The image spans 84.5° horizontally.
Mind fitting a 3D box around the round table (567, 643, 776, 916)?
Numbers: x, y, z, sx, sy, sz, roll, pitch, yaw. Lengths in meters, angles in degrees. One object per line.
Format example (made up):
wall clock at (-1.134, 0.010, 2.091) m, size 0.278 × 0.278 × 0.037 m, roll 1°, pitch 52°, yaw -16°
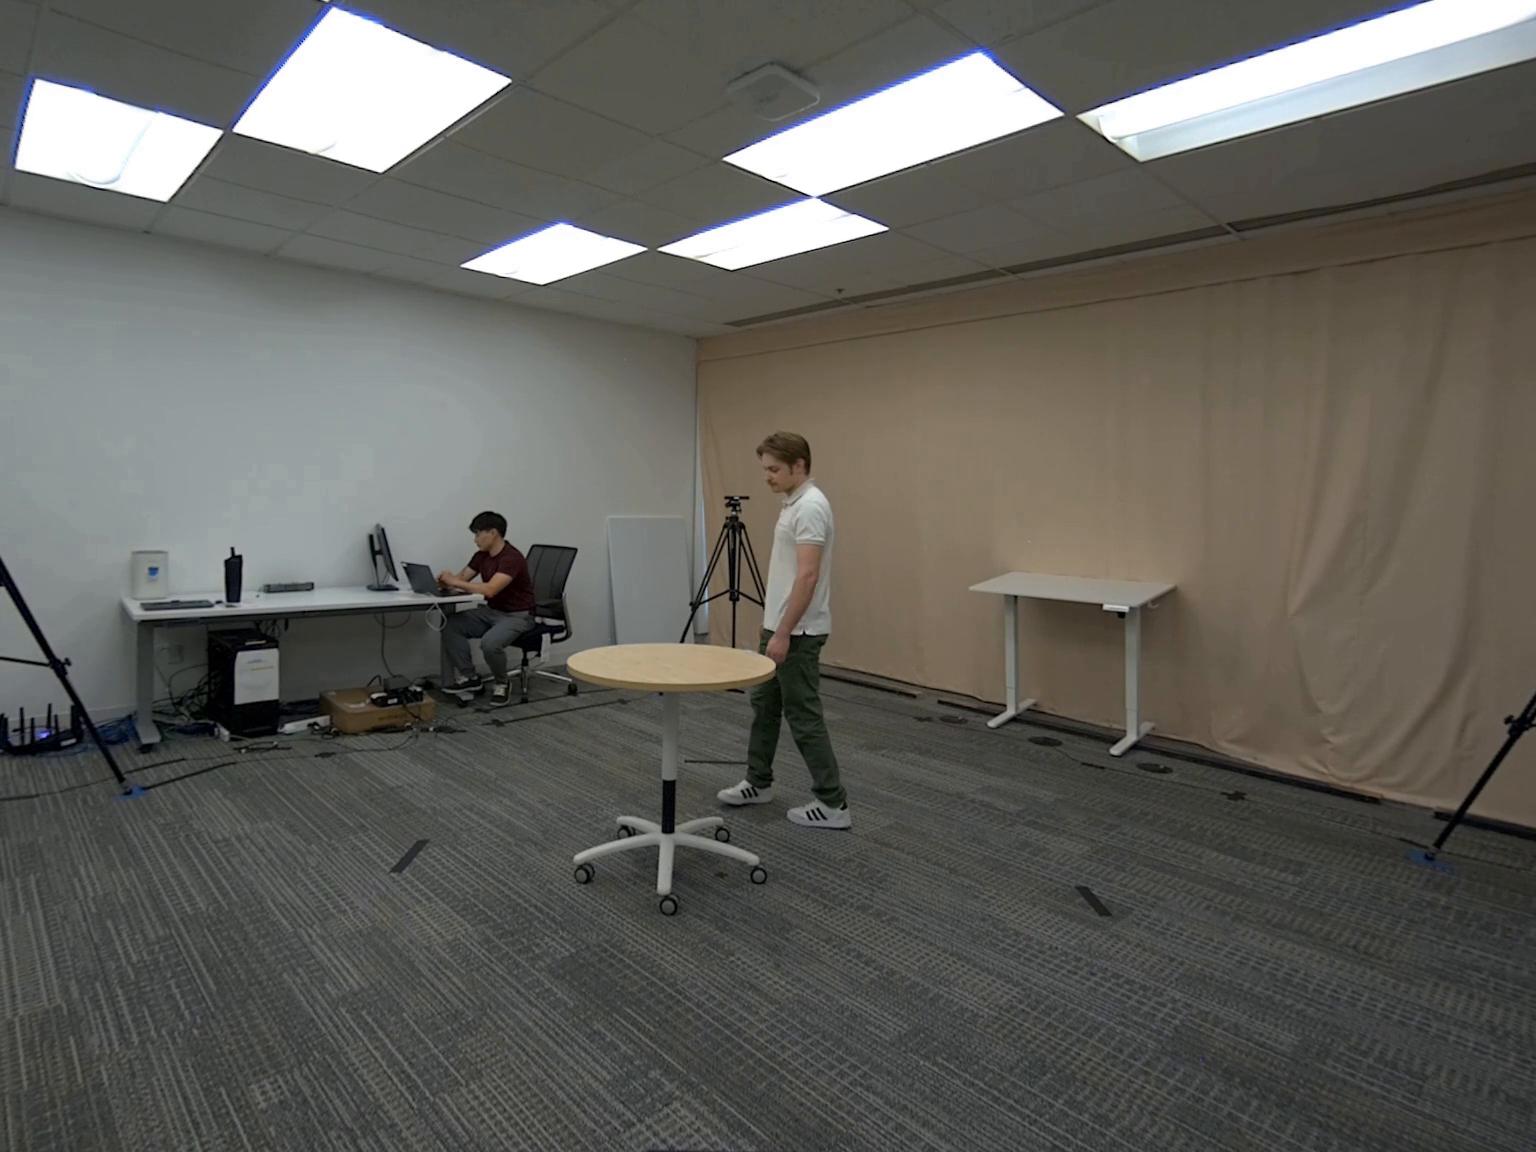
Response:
round table at (-0.382, 0.704, 3.124) m, size 0.784 × 0.784 × 0.787 m, roll 2°, pitch 4°, yaw -1°
